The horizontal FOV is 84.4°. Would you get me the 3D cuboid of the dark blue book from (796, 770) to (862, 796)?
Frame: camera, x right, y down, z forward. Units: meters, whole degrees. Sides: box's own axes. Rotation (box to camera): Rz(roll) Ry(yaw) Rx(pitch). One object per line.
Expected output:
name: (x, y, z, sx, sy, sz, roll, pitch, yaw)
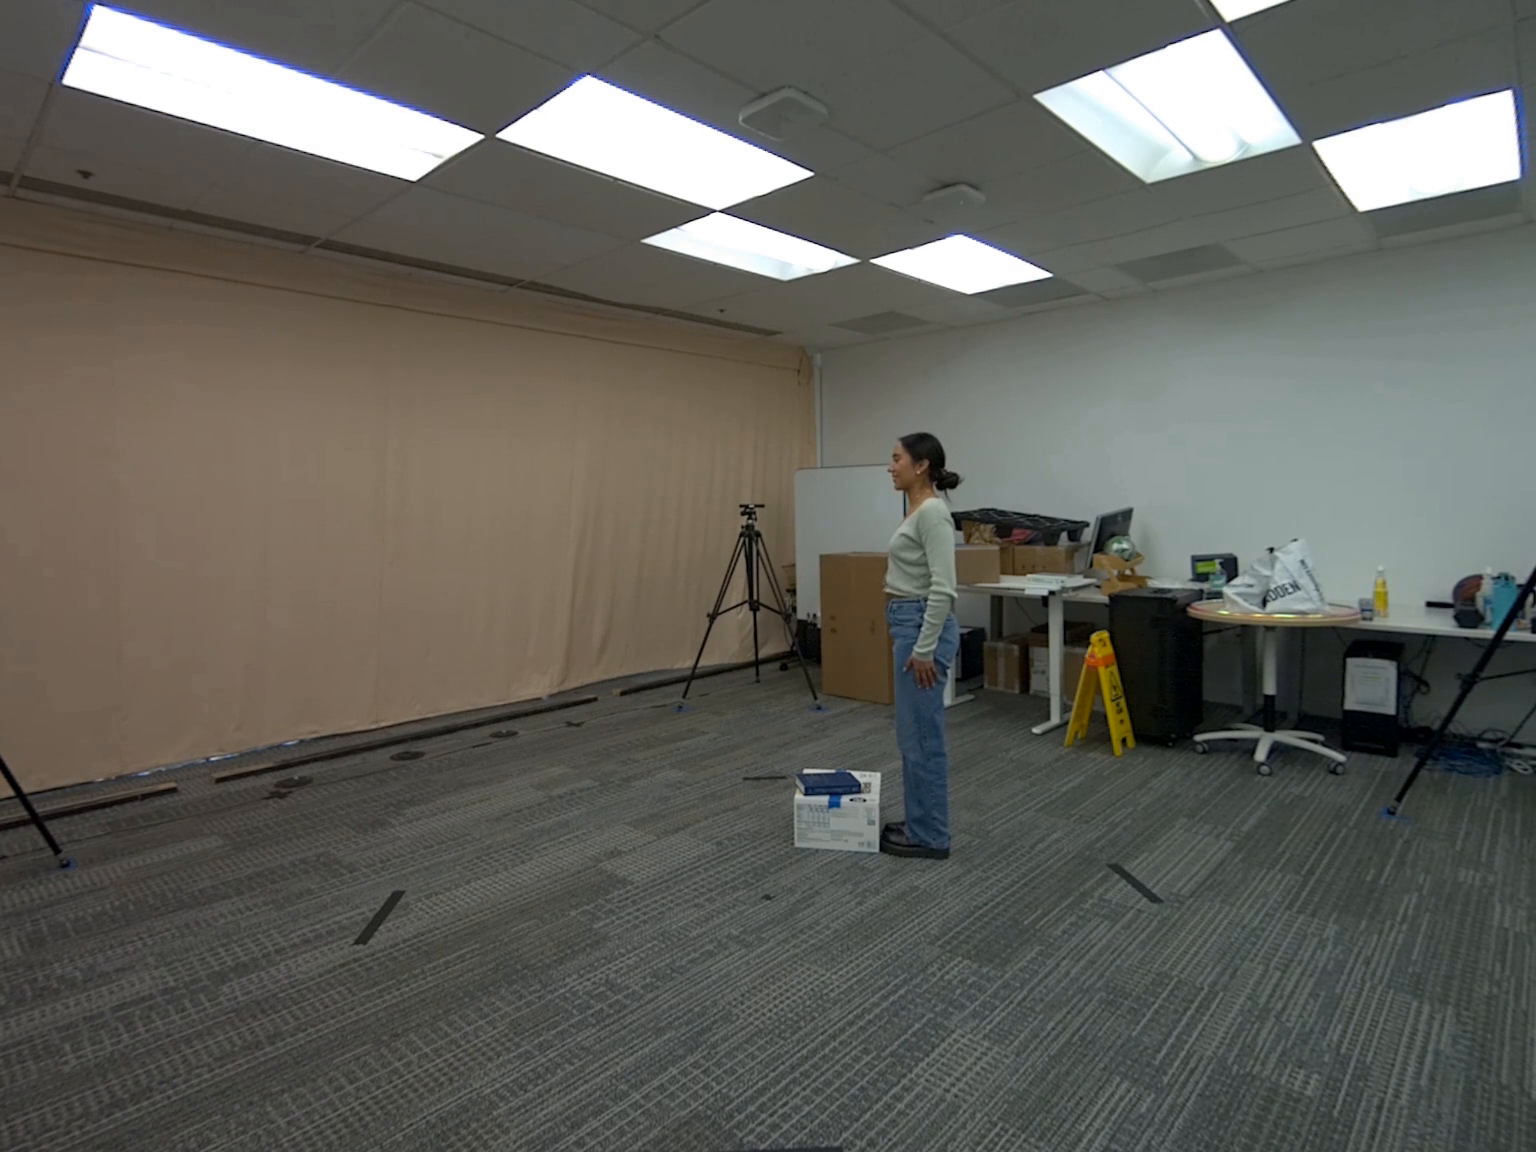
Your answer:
dark blue book: (0.253, 0.873, 3.529, 0.242, 0.045, 0.165, -1, 3, -10)
